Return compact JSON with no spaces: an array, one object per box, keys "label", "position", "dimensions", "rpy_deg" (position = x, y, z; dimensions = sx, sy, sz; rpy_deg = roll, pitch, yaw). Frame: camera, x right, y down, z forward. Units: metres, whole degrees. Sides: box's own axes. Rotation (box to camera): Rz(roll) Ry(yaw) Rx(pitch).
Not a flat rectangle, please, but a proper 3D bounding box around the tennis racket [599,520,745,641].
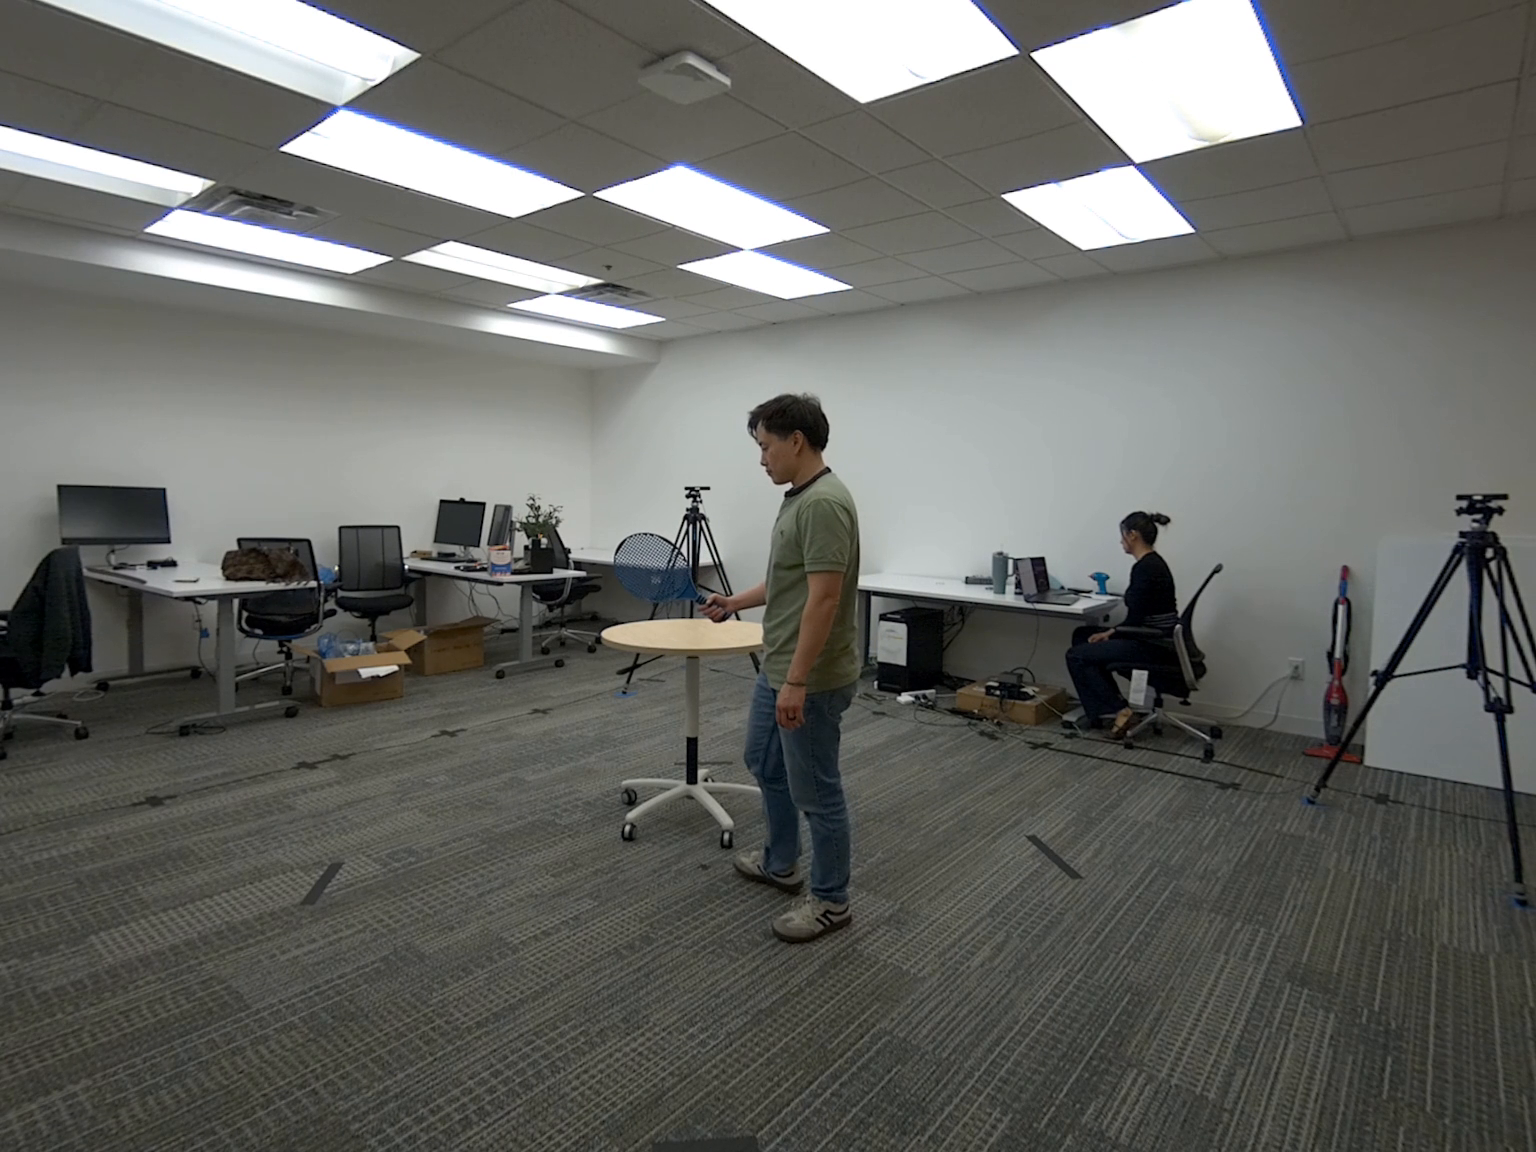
[{"label":"tennis racket","position":[-0.322,0.011,2.785],"dimensions":[0.439,0.214,0.031],"rpy_deg":[28,-1,10]}]
